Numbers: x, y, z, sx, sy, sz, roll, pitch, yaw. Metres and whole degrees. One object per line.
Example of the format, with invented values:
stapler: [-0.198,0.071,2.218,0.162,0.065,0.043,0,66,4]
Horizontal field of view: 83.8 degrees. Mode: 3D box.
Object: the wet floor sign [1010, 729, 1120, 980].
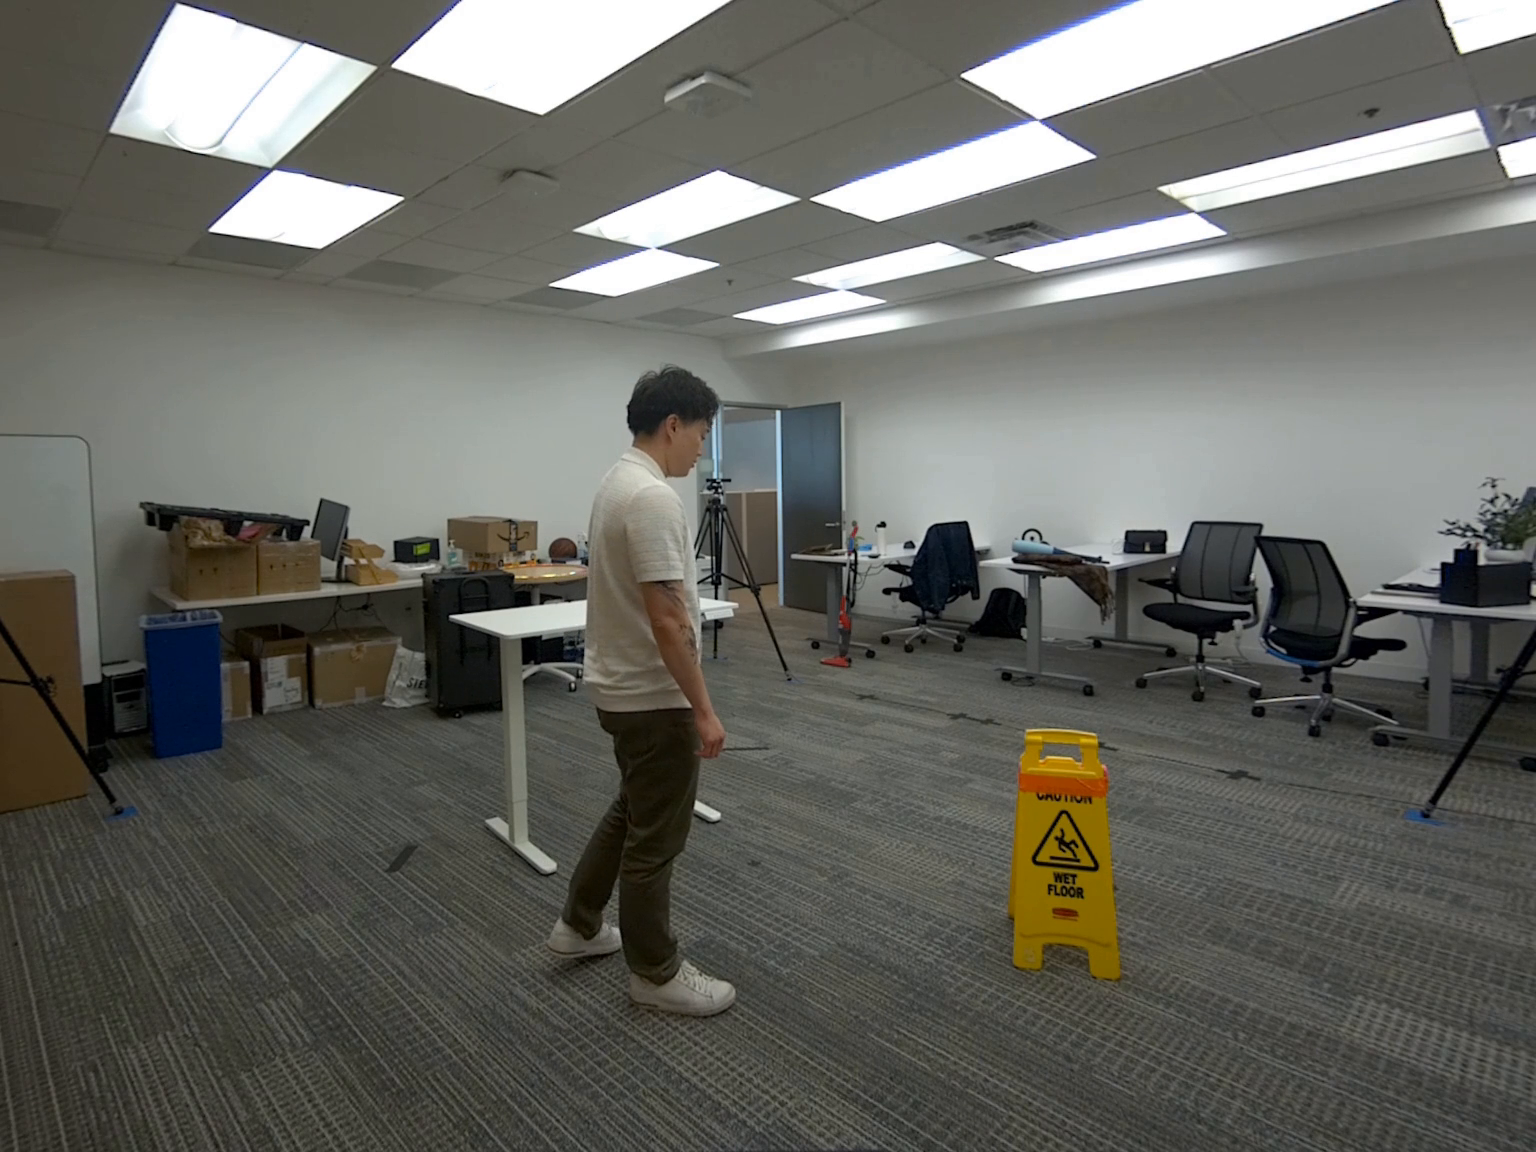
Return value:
wet floor sign: [0.872,0.770,2.496,0.286,0.644,0.287,-2,3,14]
